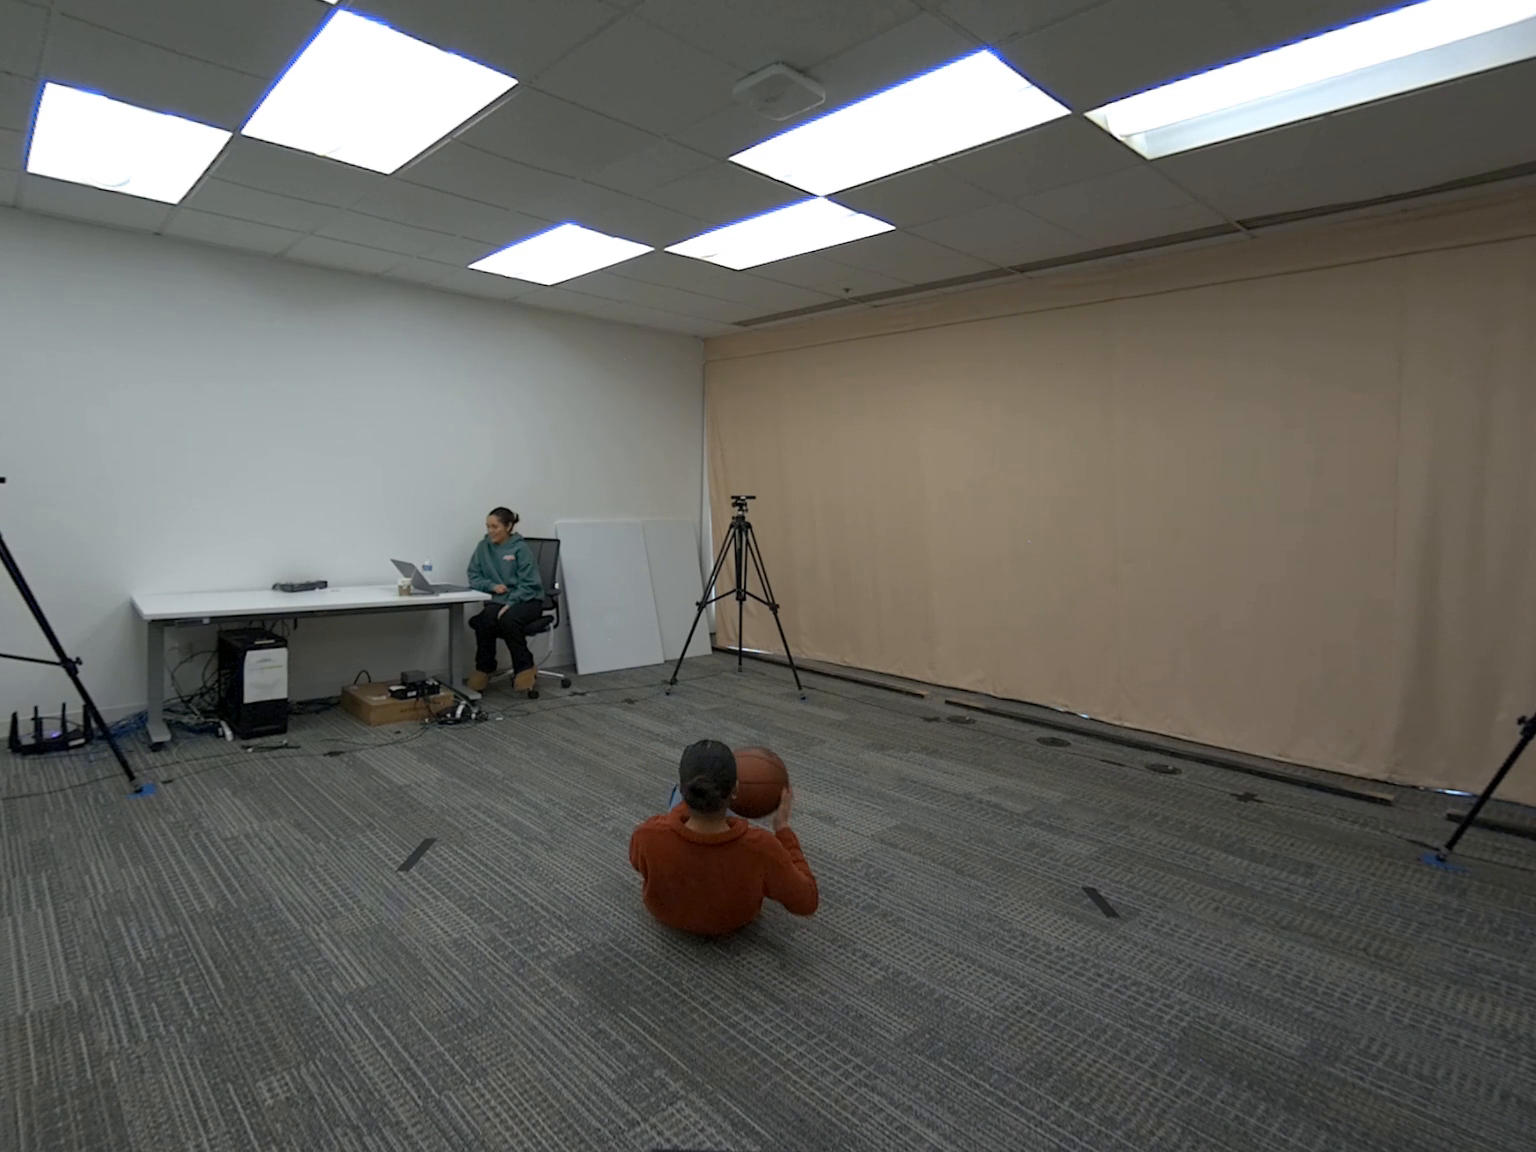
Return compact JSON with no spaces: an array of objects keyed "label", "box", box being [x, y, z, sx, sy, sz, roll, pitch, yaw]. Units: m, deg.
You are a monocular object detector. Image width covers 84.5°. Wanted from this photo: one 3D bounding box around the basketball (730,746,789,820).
[{"label":"basketball","box":[-0.050,0.718,2.783,0.236,0.235,0.237,1,4,-1]}]
